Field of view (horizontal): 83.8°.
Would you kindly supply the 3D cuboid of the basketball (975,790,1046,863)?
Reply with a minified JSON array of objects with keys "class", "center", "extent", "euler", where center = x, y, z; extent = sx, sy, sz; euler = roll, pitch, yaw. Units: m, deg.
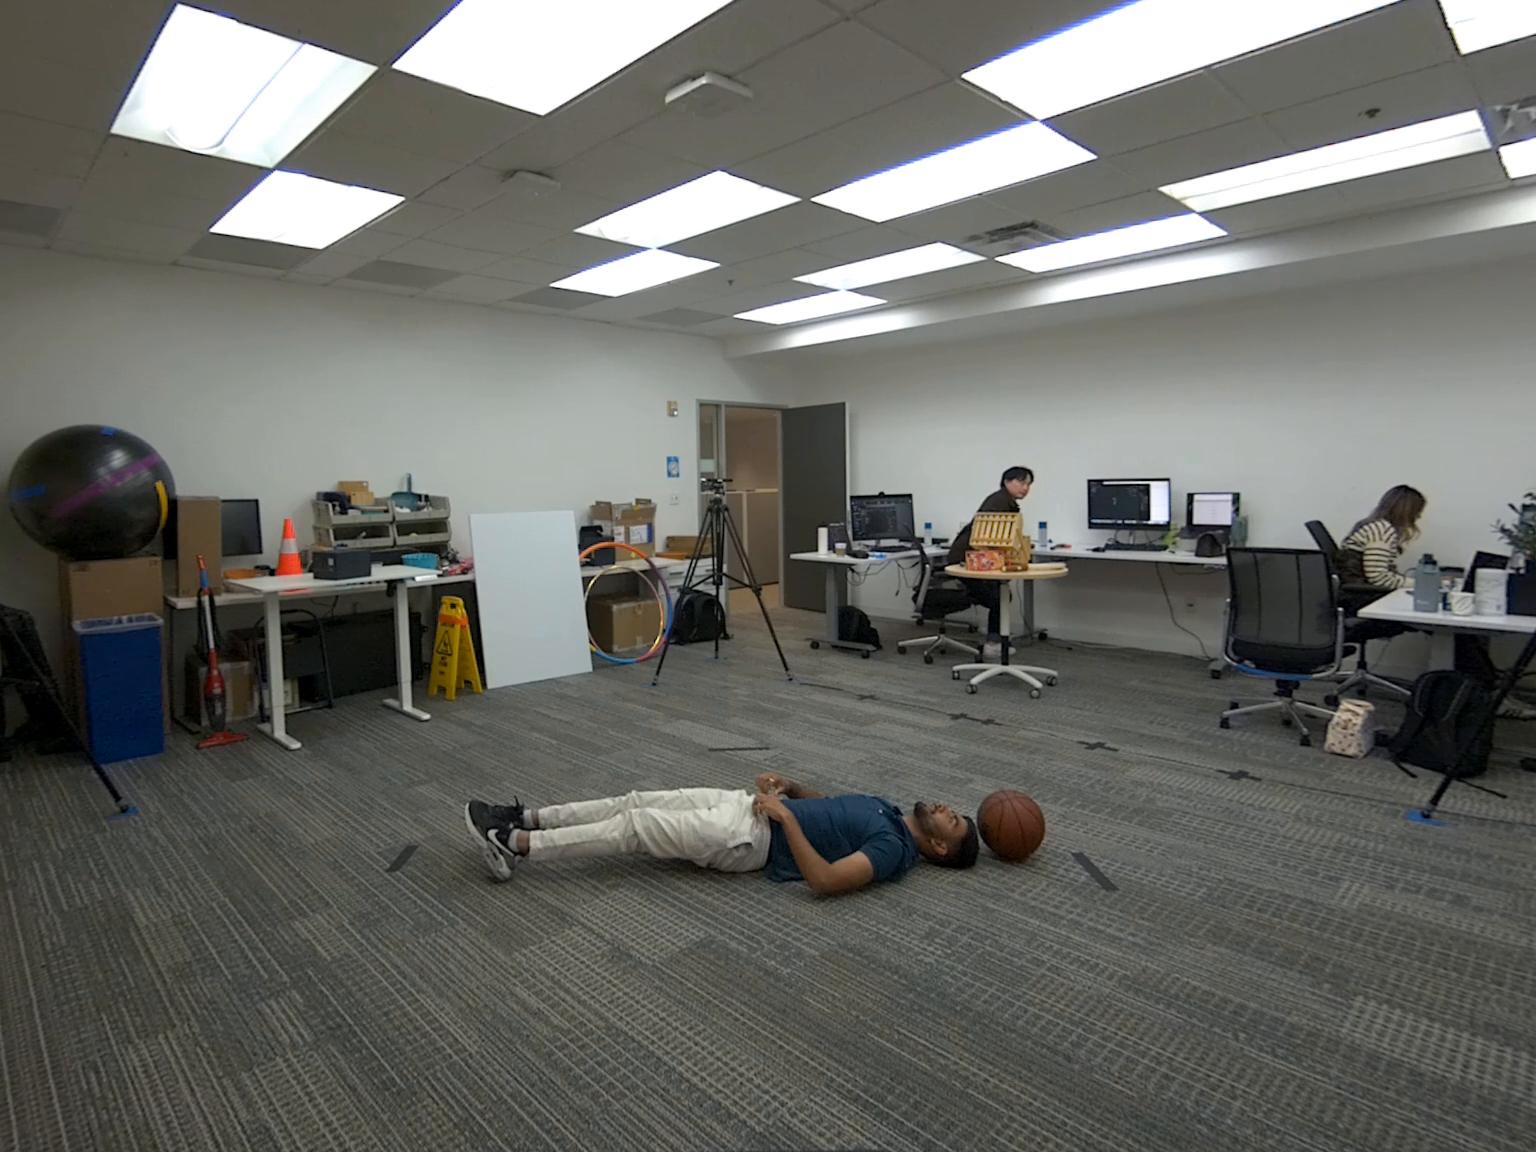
[{"class":"basketball","center":[0.894,0.906,3.130],"extent":[0.236,0.235,0.237],"euler":[-1,5,-2]}]
